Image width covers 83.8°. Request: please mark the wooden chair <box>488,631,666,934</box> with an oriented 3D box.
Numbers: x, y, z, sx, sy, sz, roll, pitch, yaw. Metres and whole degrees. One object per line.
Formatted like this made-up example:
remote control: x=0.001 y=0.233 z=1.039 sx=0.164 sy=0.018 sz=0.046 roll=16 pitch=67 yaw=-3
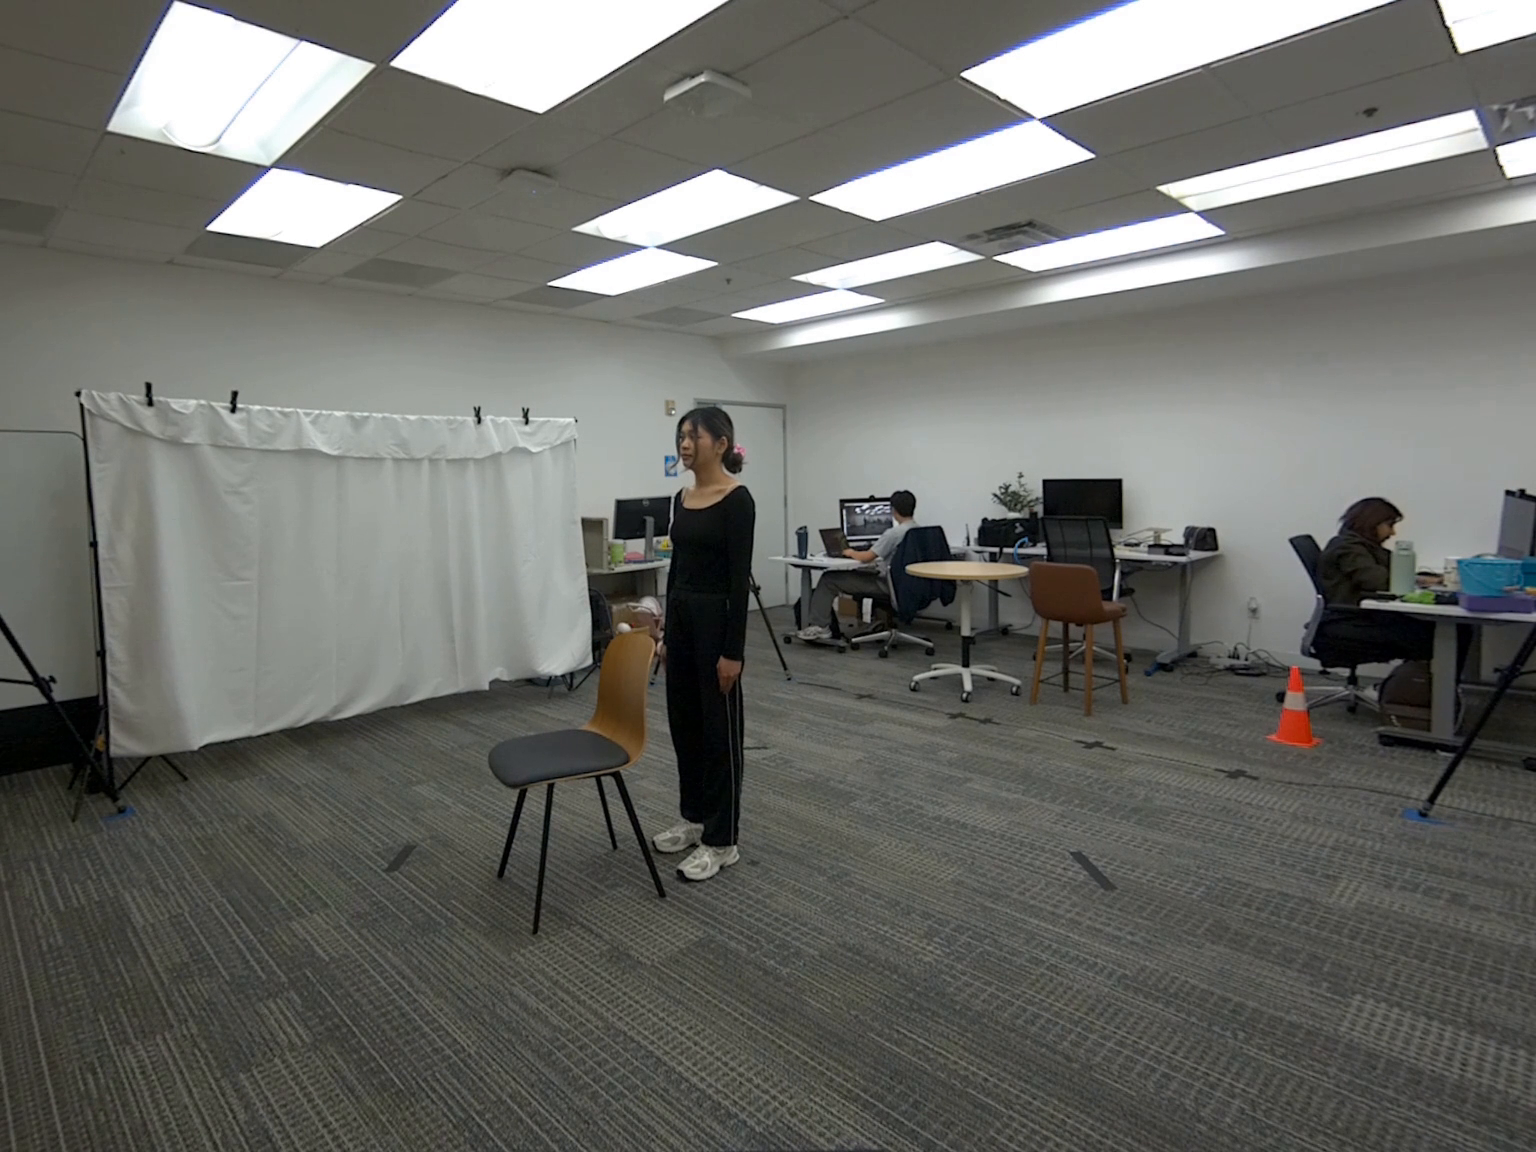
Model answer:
wooden chair: x=-0.666 y=0.653 z=2.899 sx=0.510 sy=0.876 sz=0.491 roll=1 pitch=3 yaw=-30
